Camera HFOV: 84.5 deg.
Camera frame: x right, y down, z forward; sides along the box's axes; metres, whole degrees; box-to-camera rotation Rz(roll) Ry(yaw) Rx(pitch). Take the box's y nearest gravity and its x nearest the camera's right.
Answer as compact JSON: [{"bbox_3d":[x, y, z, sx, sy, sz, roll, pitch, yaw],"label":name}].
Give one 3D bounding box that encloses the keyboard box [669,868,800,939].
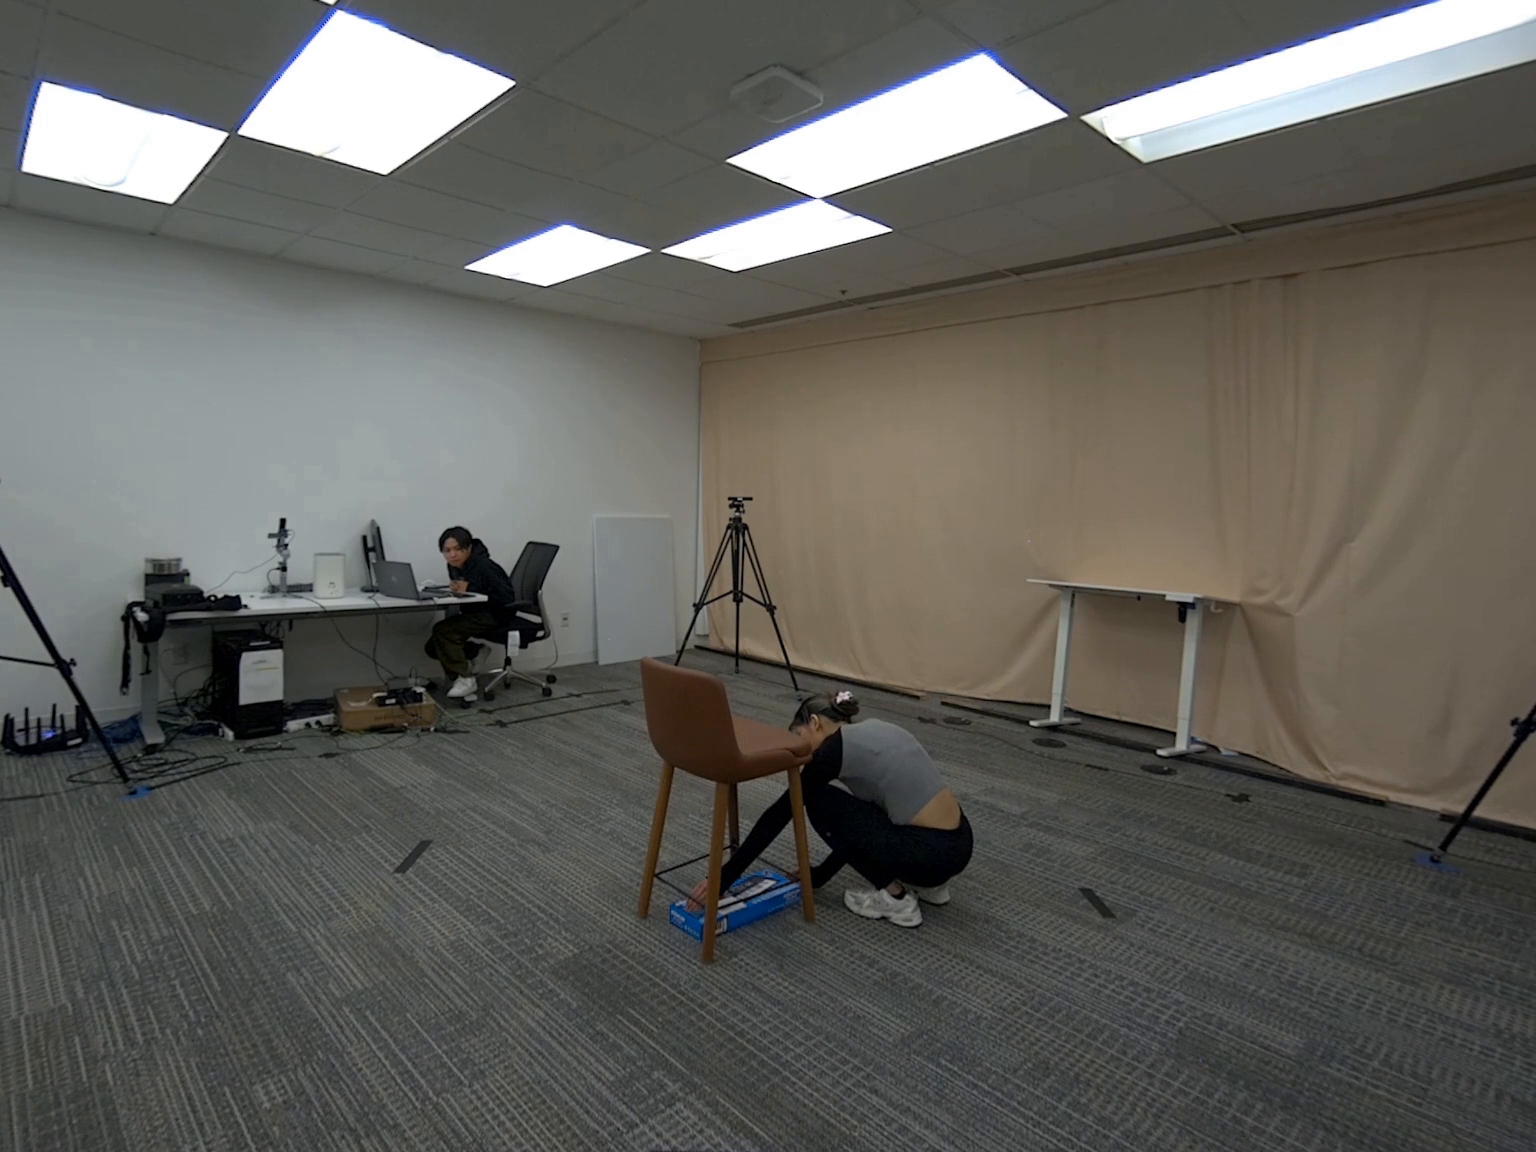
[{"bbox_3d":[-0.106,1.099,2.834,0.427,0.059,0.180,-4,7,-41],"label":"keyboard box"}]
